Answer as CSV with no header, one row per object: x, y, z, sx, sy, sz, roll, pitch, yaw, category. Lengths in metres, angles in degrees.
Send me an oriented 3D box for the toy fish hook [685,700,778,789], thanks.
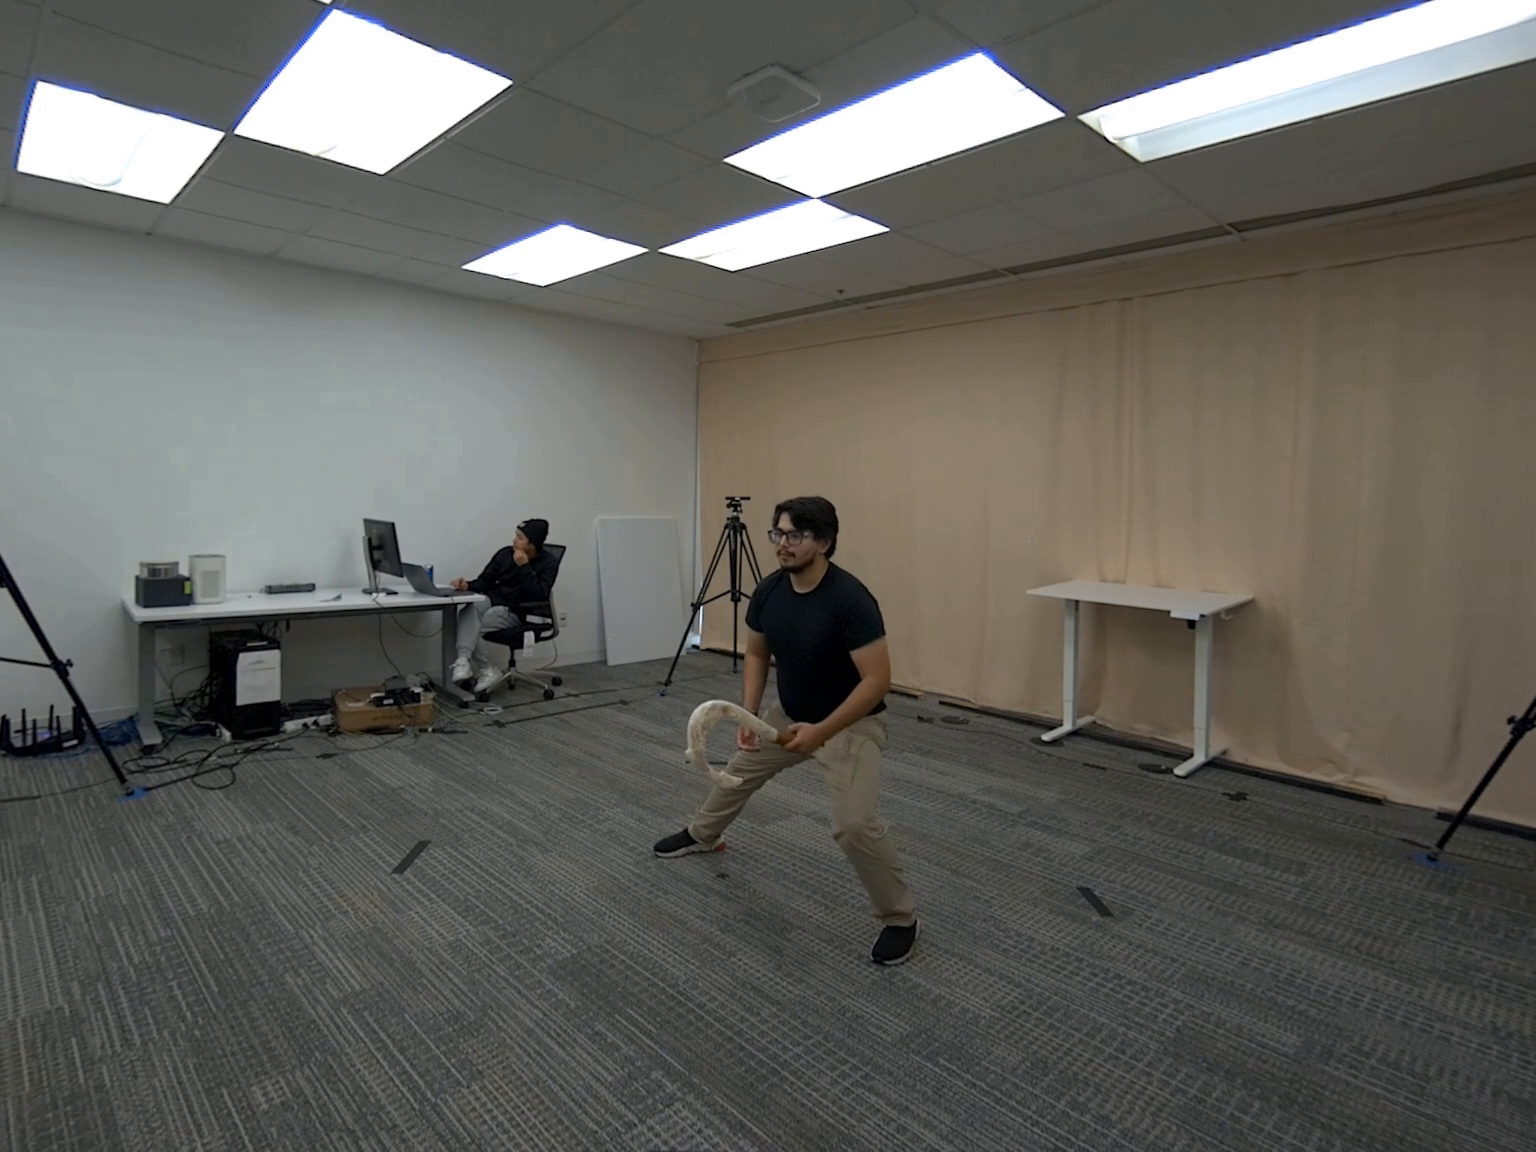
-0.029,0.501,2.382,0.493,0.227,0.049,19,-19,-35,toy fish hook
